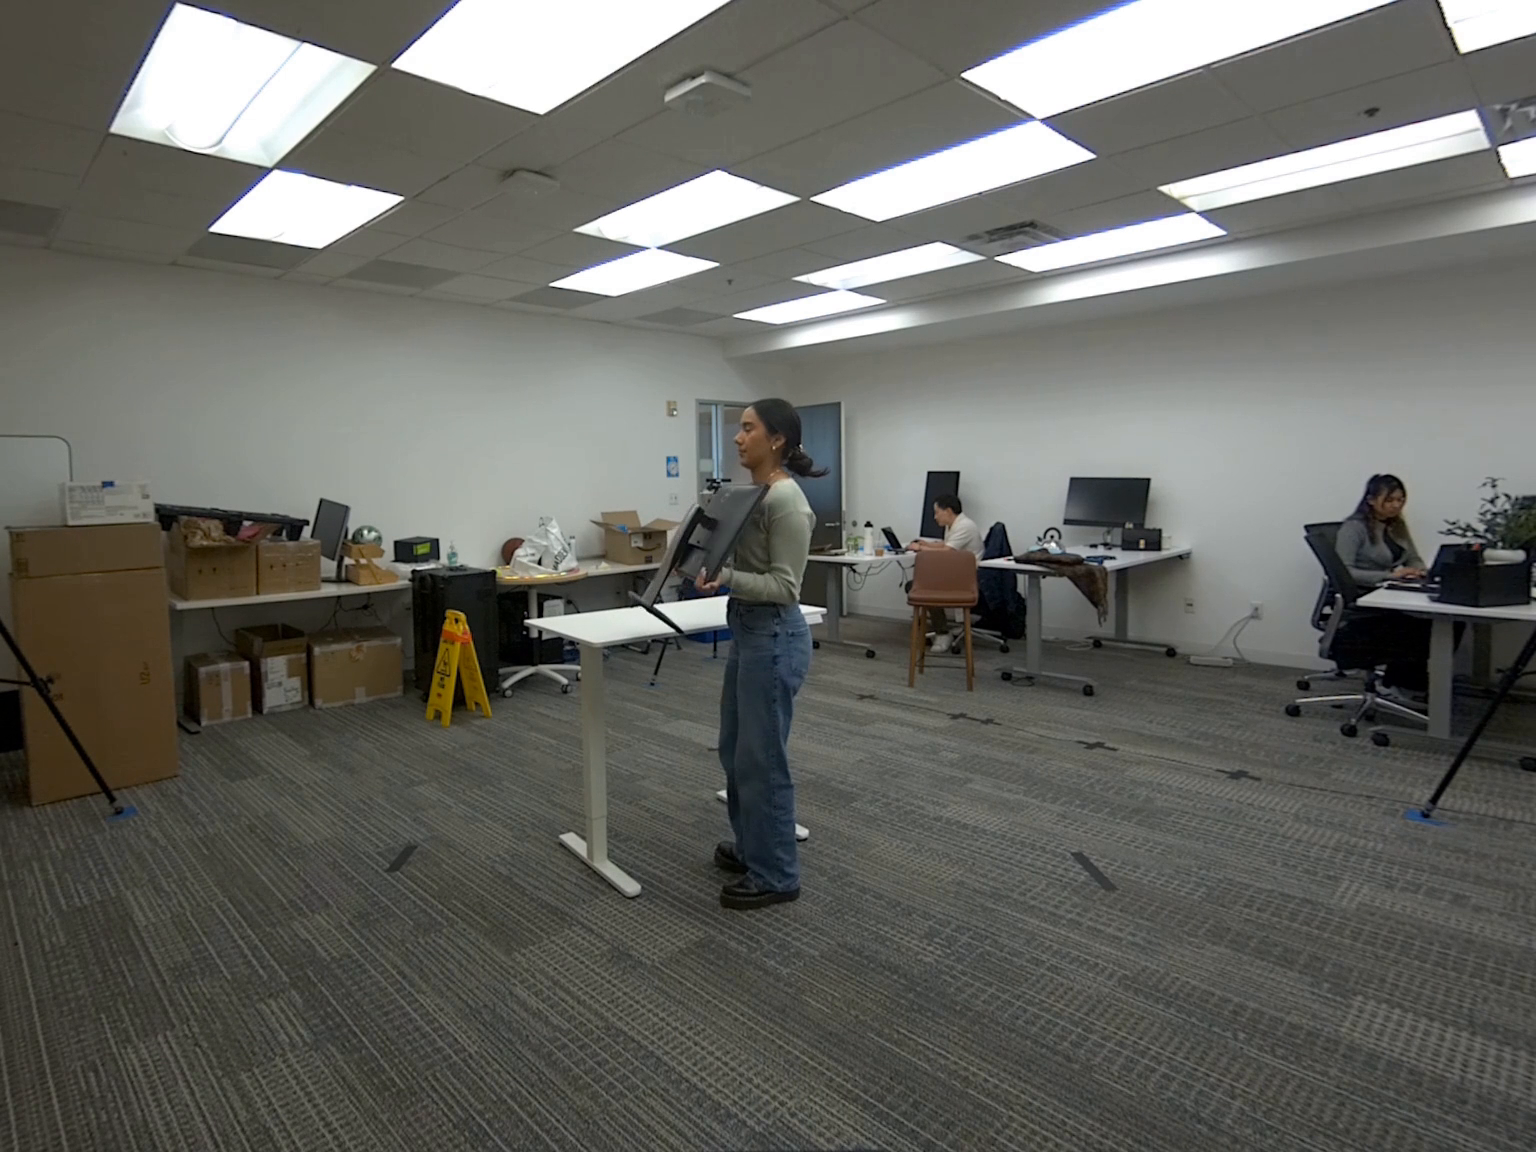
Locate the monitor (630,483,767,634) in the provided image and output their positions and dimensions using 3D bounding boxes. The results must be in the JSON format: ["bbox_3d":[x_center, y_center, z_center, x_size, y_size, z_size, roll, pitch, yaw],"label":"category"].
[{"bbox_3d":[-0.225,-0.091,2.718,0.183,0.523,0.550,38,-4,-18],"label":"monitor"}]
